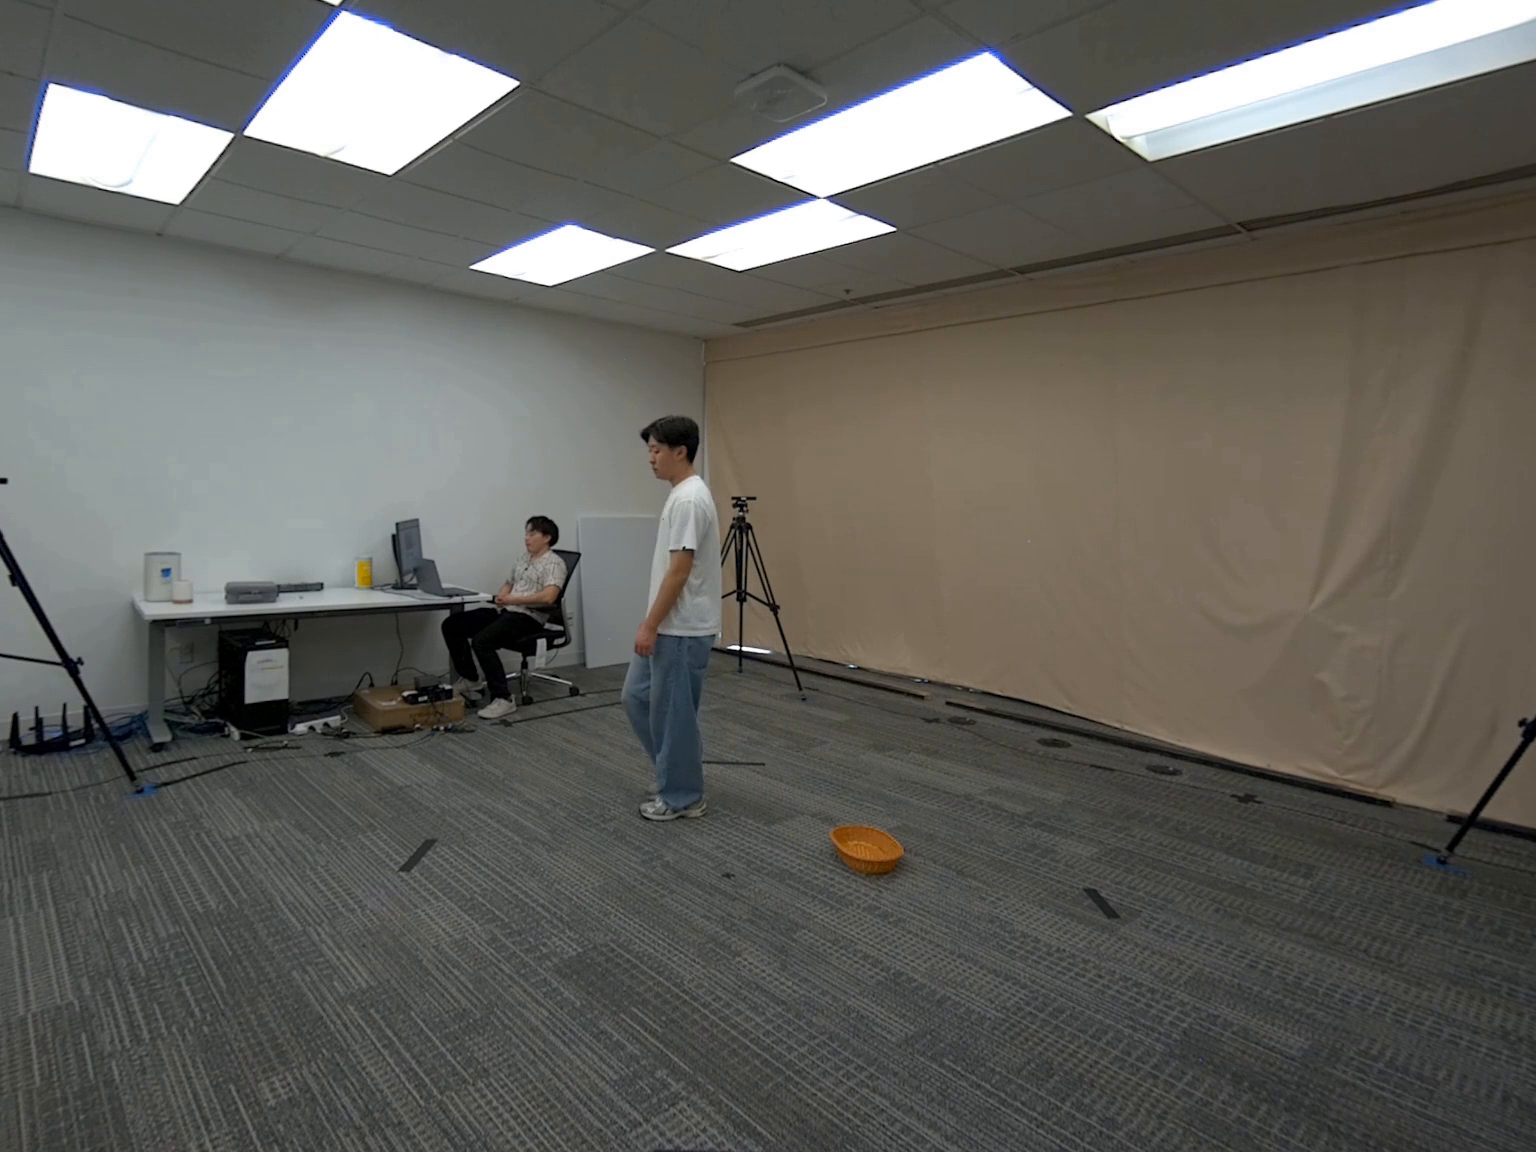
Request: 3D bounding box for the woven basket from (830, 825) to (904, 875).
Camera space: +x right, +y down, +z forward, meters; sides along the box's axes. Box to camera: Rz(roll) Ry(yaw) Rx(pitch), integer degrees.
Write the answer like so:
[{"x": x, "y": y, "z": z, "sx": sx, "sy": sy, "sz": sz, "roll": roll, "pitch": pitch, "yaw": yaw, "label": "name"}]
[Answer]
[{"x": 0.373, "y": 1.064, "z": 3.277, "sx": 0.250, "sy": 0.073, "sz": 0.355, "roll": 0, "pitch": 5, "yaw": -13, "label": "woven basket"}]
